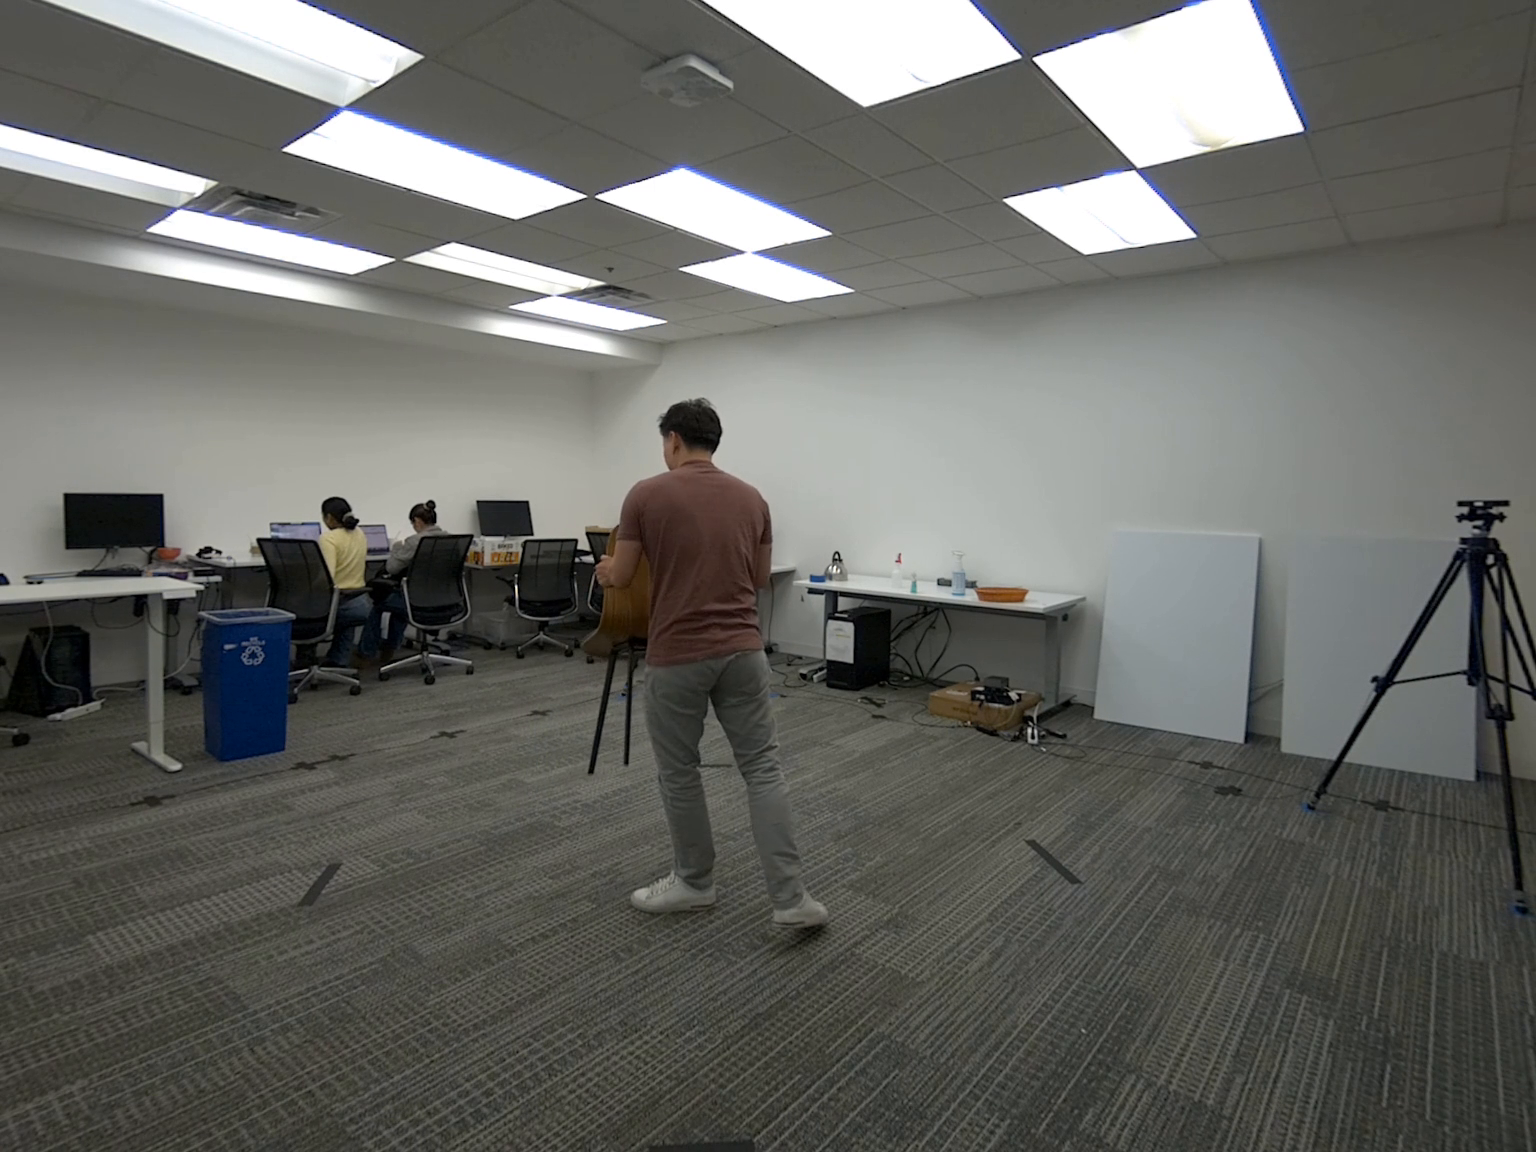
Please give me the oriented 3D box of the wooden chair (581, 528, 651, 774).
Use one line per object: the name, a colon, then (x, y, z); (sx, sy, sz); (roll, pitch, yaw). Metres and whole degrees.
wooden chair: (-0.449, 0.260, 3.163); (0.466, 0.889, 0.529); (0, -13, -26)
